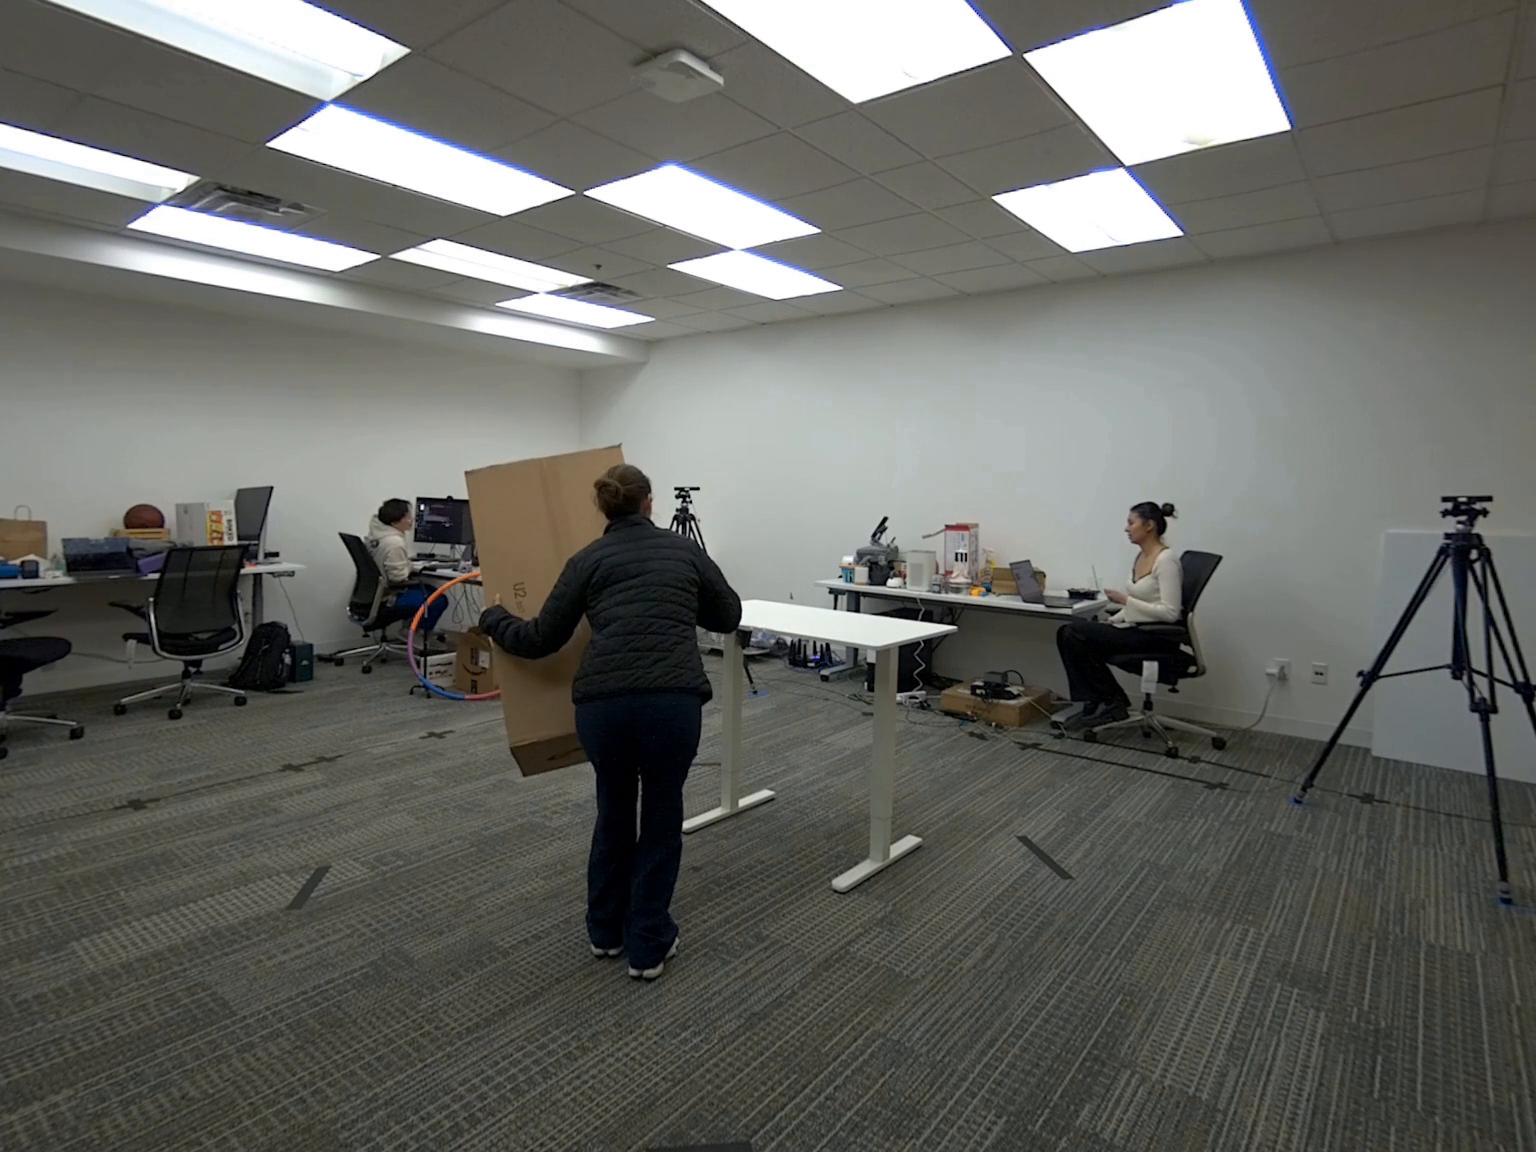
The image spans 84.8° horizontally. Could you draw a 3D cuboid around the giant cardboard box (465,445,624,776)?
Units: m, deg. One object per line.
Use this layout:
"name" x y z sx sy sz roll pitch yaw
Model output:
"giant cardboard box" -0.694 0.106 3.088 0.572 1.055 0.418 -12 -25 -10
